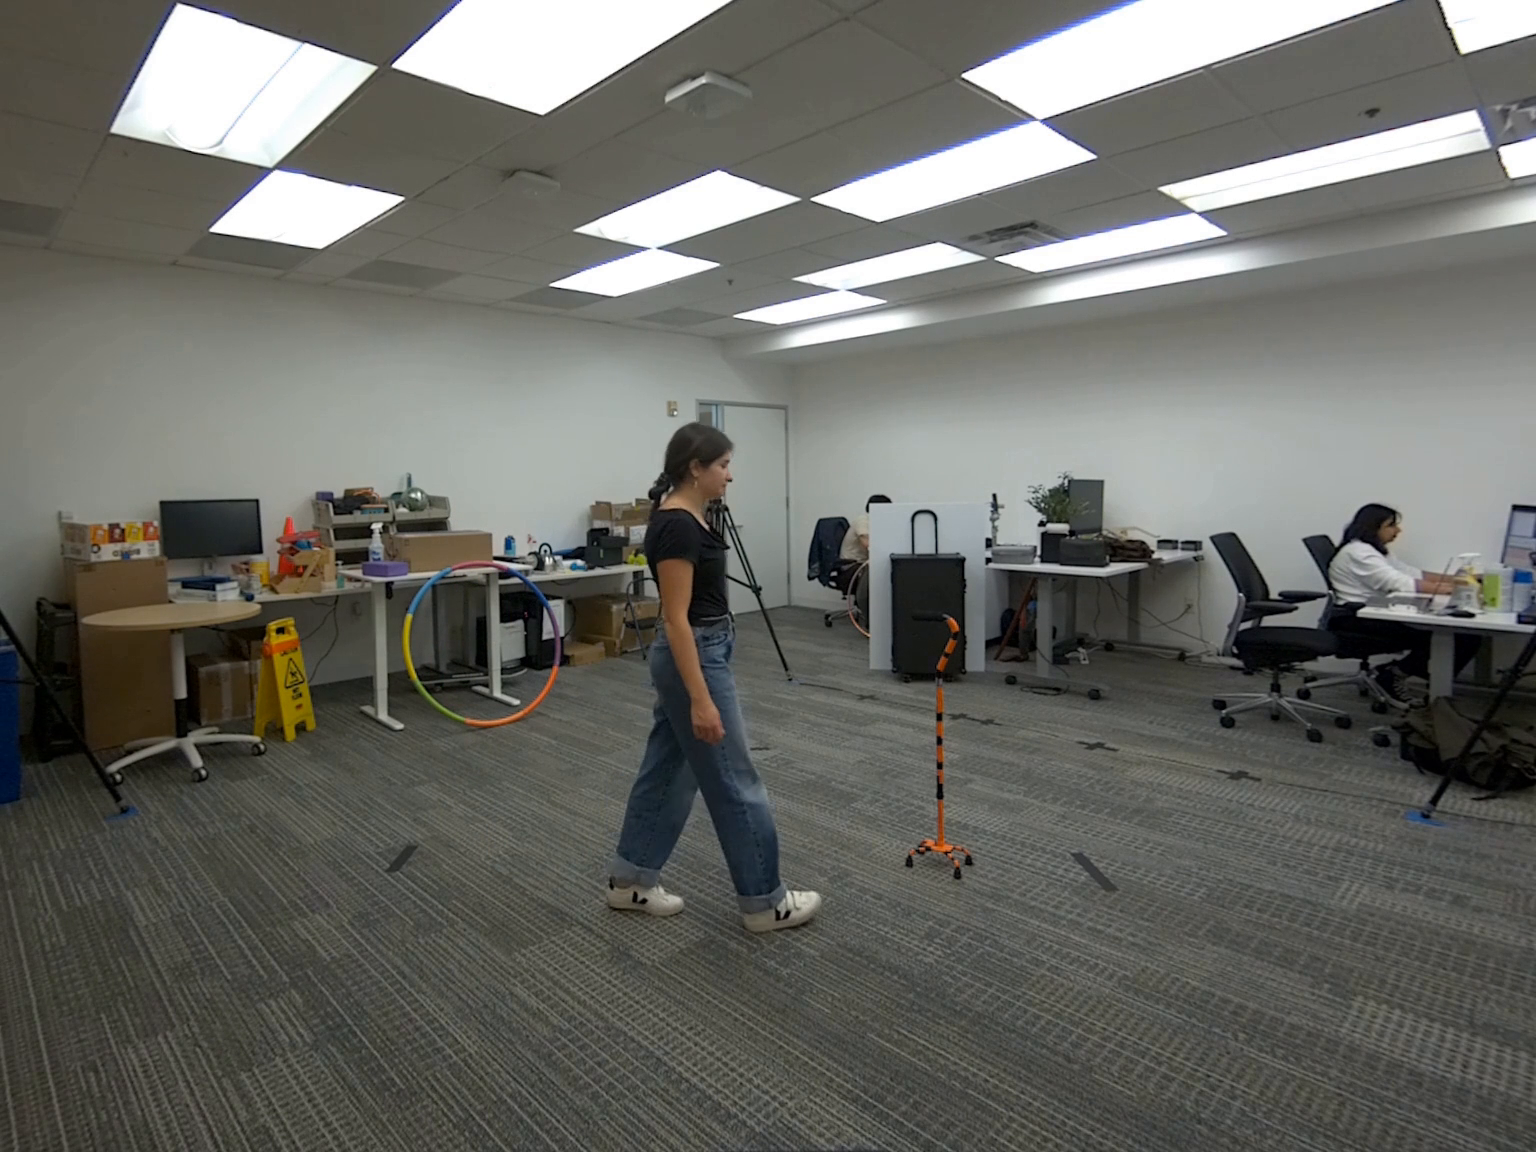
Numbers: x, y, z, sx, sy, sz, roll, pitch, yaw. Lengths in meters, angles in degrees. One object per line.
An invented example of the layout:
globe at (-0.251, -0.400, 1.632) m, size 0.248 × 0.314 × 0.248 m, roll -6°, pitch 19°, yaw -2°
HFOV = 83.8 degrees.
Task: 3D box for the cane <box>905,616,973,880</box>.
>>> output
cane at (0.613, 0.589, 3.053) m, size 0.212 × 0.906 × 0.148 m, roll 1°, pitch 3°, yaw 31°
